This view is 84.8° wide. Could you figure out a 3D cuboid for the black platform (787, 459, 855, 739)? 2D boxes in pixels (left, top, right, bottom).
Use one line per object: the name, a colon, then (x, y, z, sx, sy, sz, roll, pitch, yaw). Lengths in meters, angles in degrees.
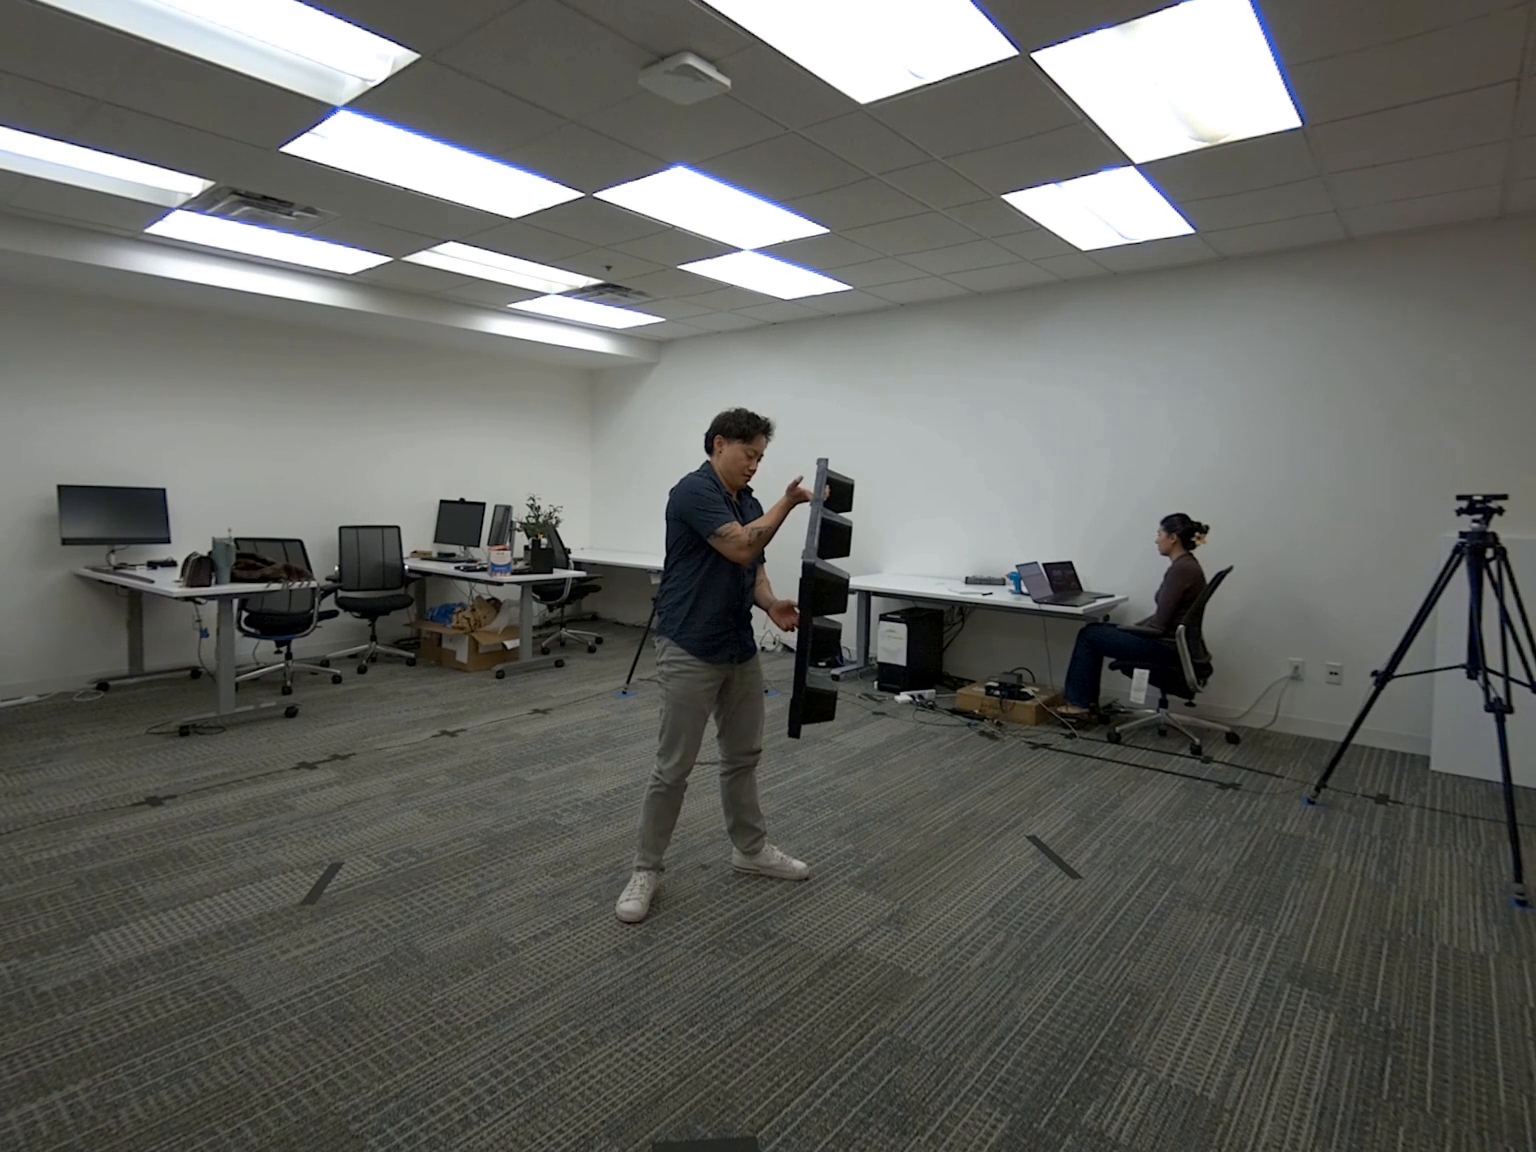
black platform: (0.178, 0.046, 2.722, 0.144, 0.591, 0.818, 6, 29, 4)
